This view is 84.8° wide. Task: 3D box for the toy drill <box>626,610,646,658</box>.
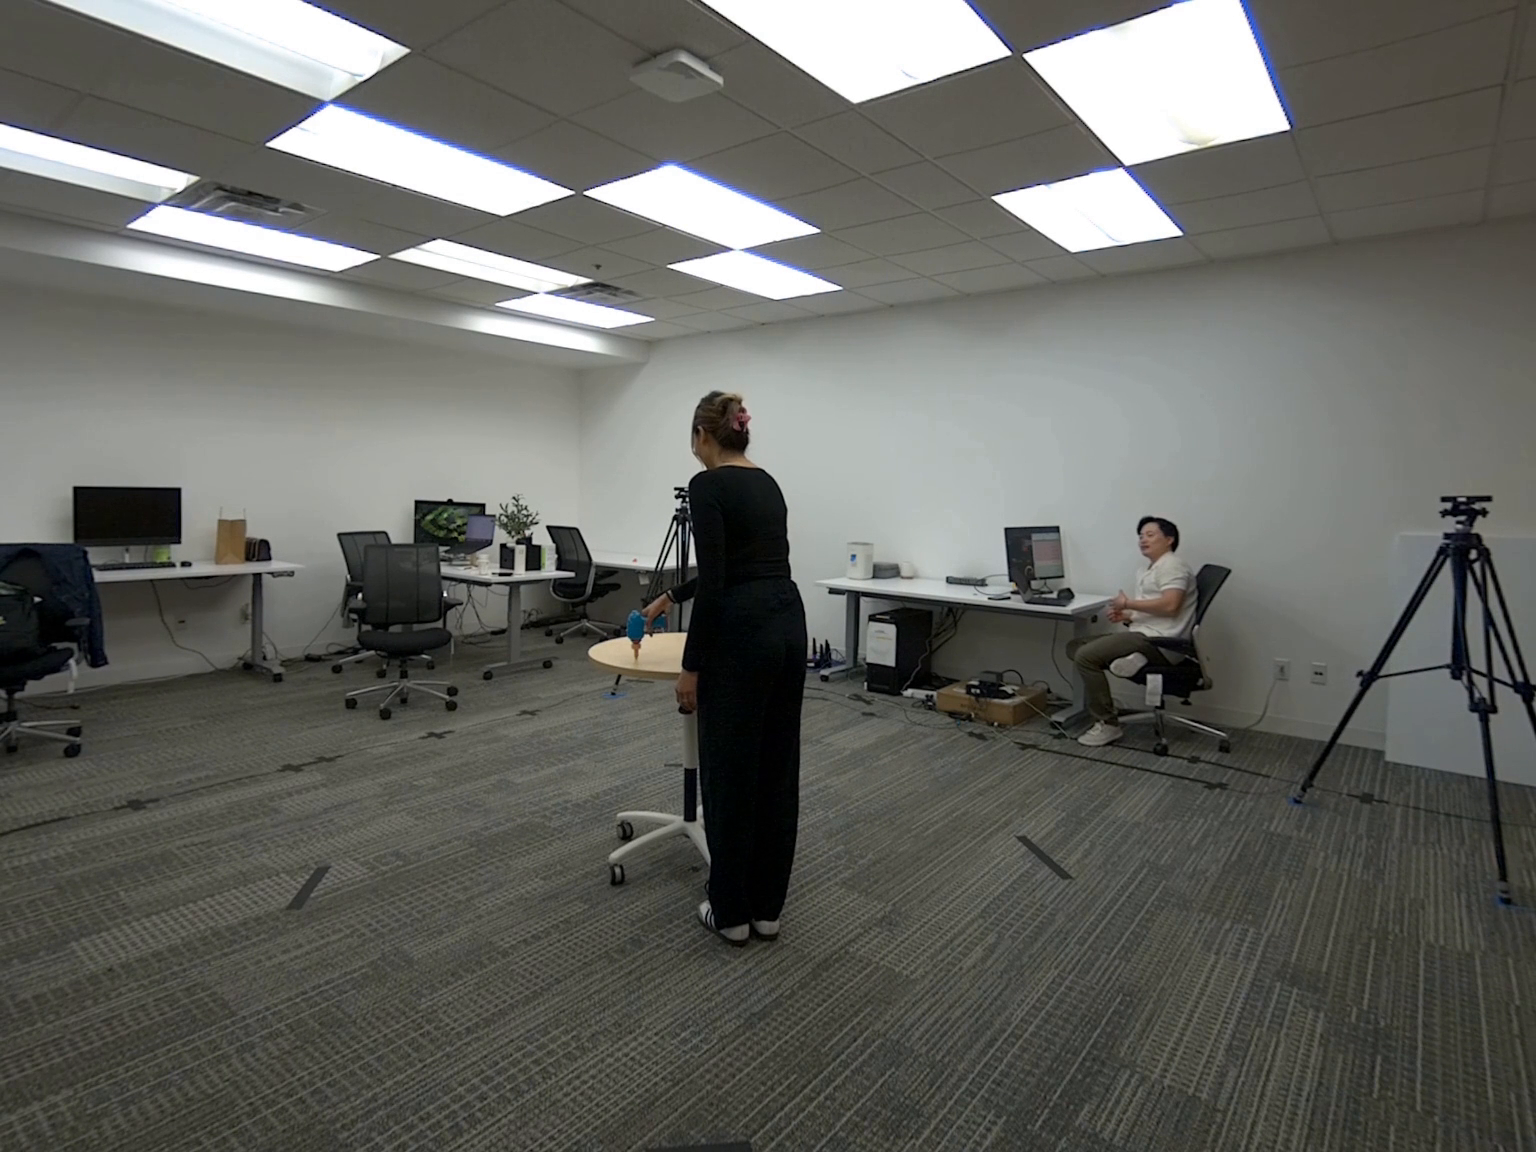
[{"bbox_3d":[-0.432,0.203,3.008,0.145,0.171,0.061,-4,-7,-5],"label":"toy drill"}]
